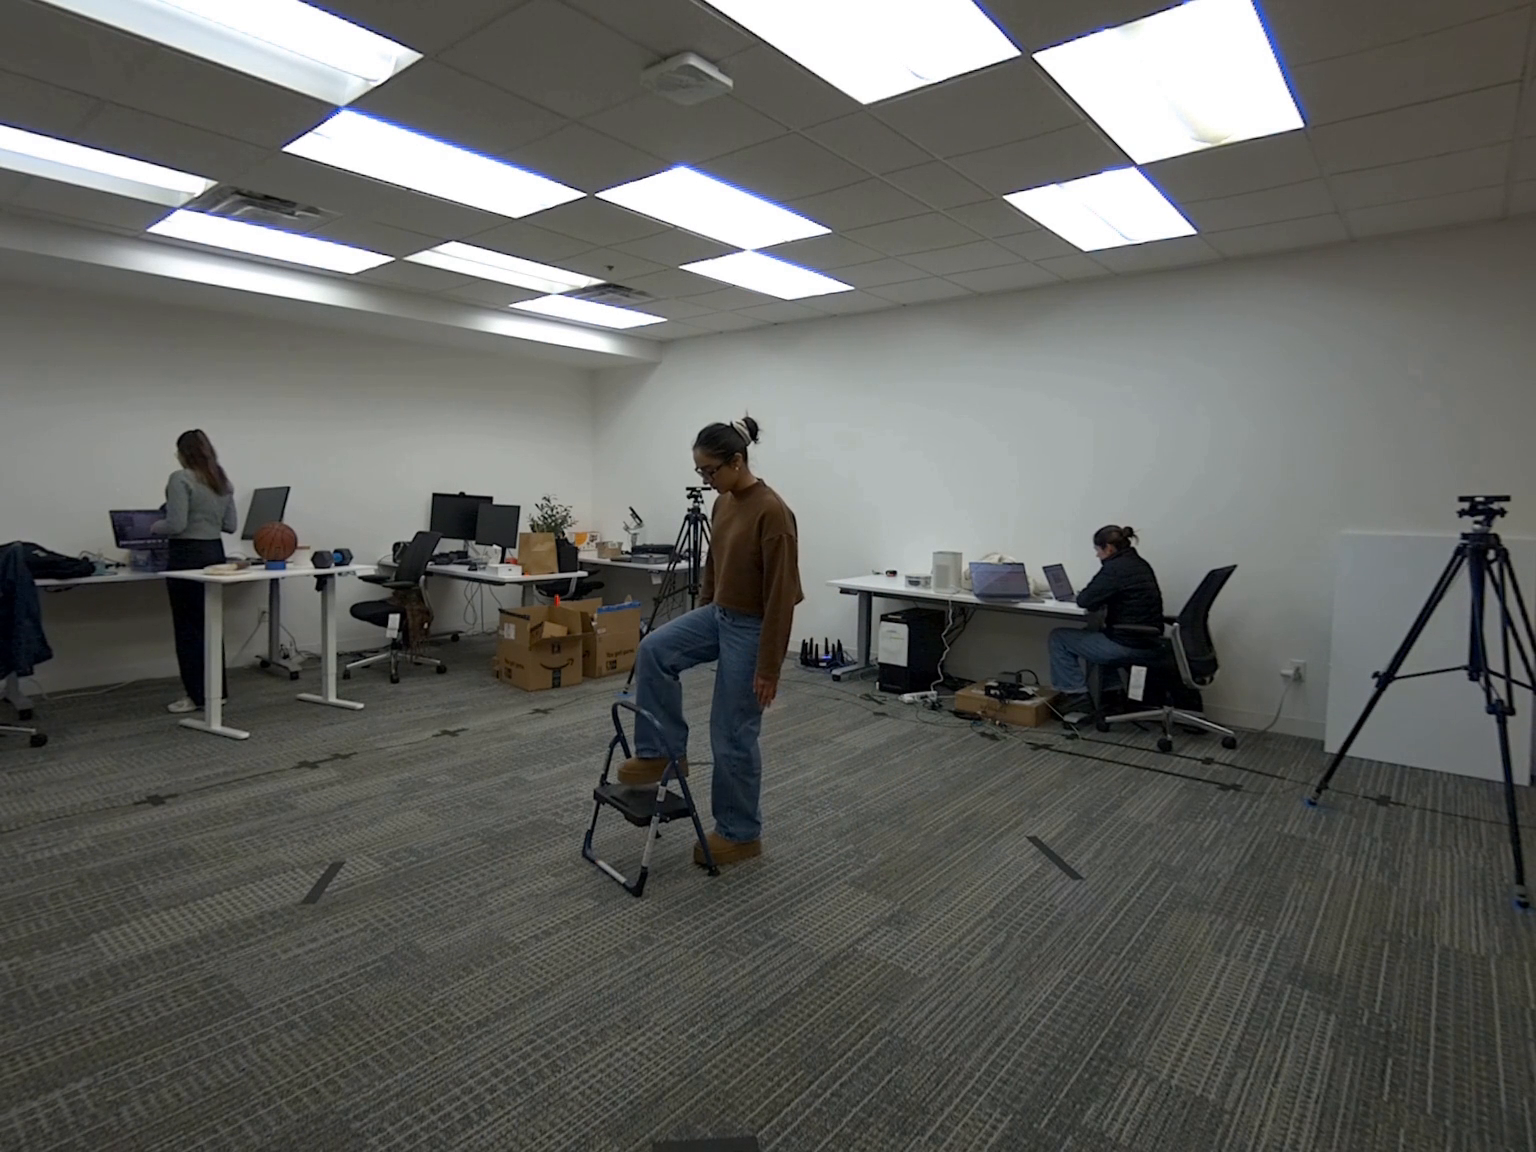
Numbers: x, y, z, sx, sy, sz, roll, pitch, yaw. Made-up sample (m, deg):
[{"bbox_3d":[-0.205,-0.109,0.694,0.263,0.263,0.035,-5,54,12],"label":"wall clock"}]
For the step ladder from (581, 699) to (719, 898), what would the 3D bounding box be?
[{"bbox_3d":[-0.446,0.757,3.117,0.339,0.604,0.445,-2,5,-39],"label":"step ladder"}]
